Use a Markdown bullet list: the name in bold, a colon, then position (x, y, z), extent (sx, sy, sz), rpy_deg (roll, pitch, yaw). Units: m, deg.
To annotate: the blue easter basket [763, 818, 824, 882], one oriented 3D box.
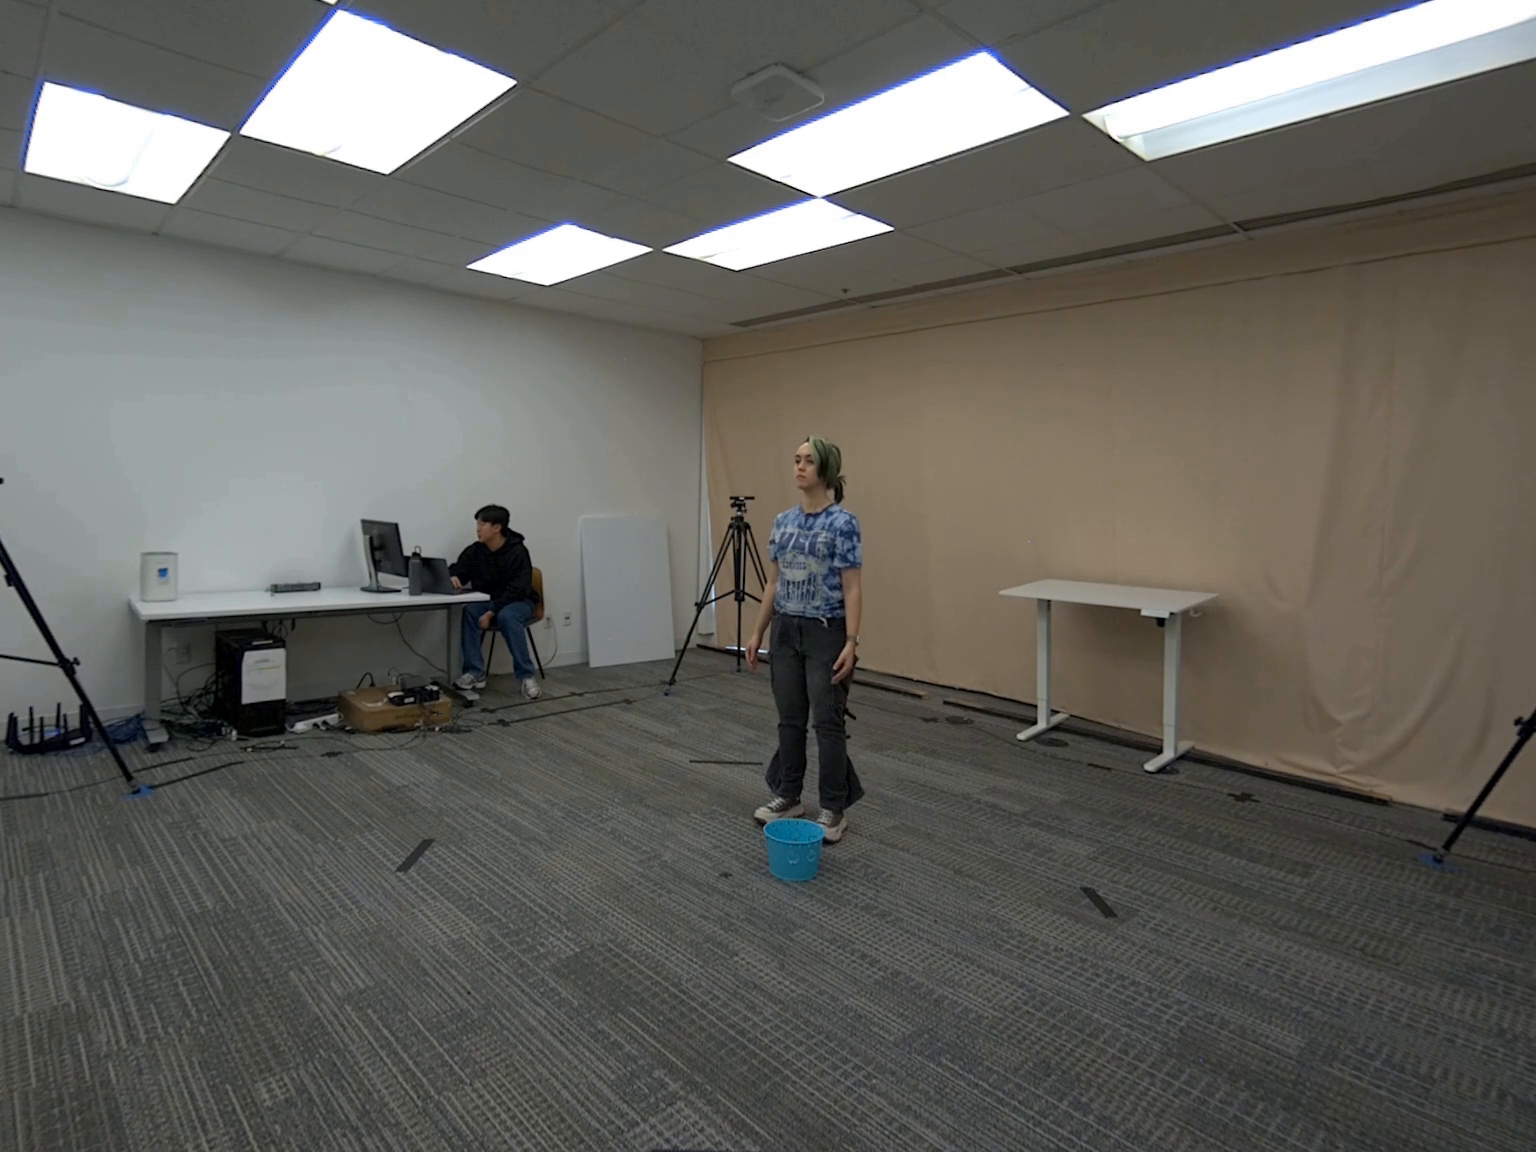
- **blue easter basket**: position (0.094, 1.025, 3.153), extent (0.243, 0.155, 0.244), rpy_deg (1, 5, -1)
